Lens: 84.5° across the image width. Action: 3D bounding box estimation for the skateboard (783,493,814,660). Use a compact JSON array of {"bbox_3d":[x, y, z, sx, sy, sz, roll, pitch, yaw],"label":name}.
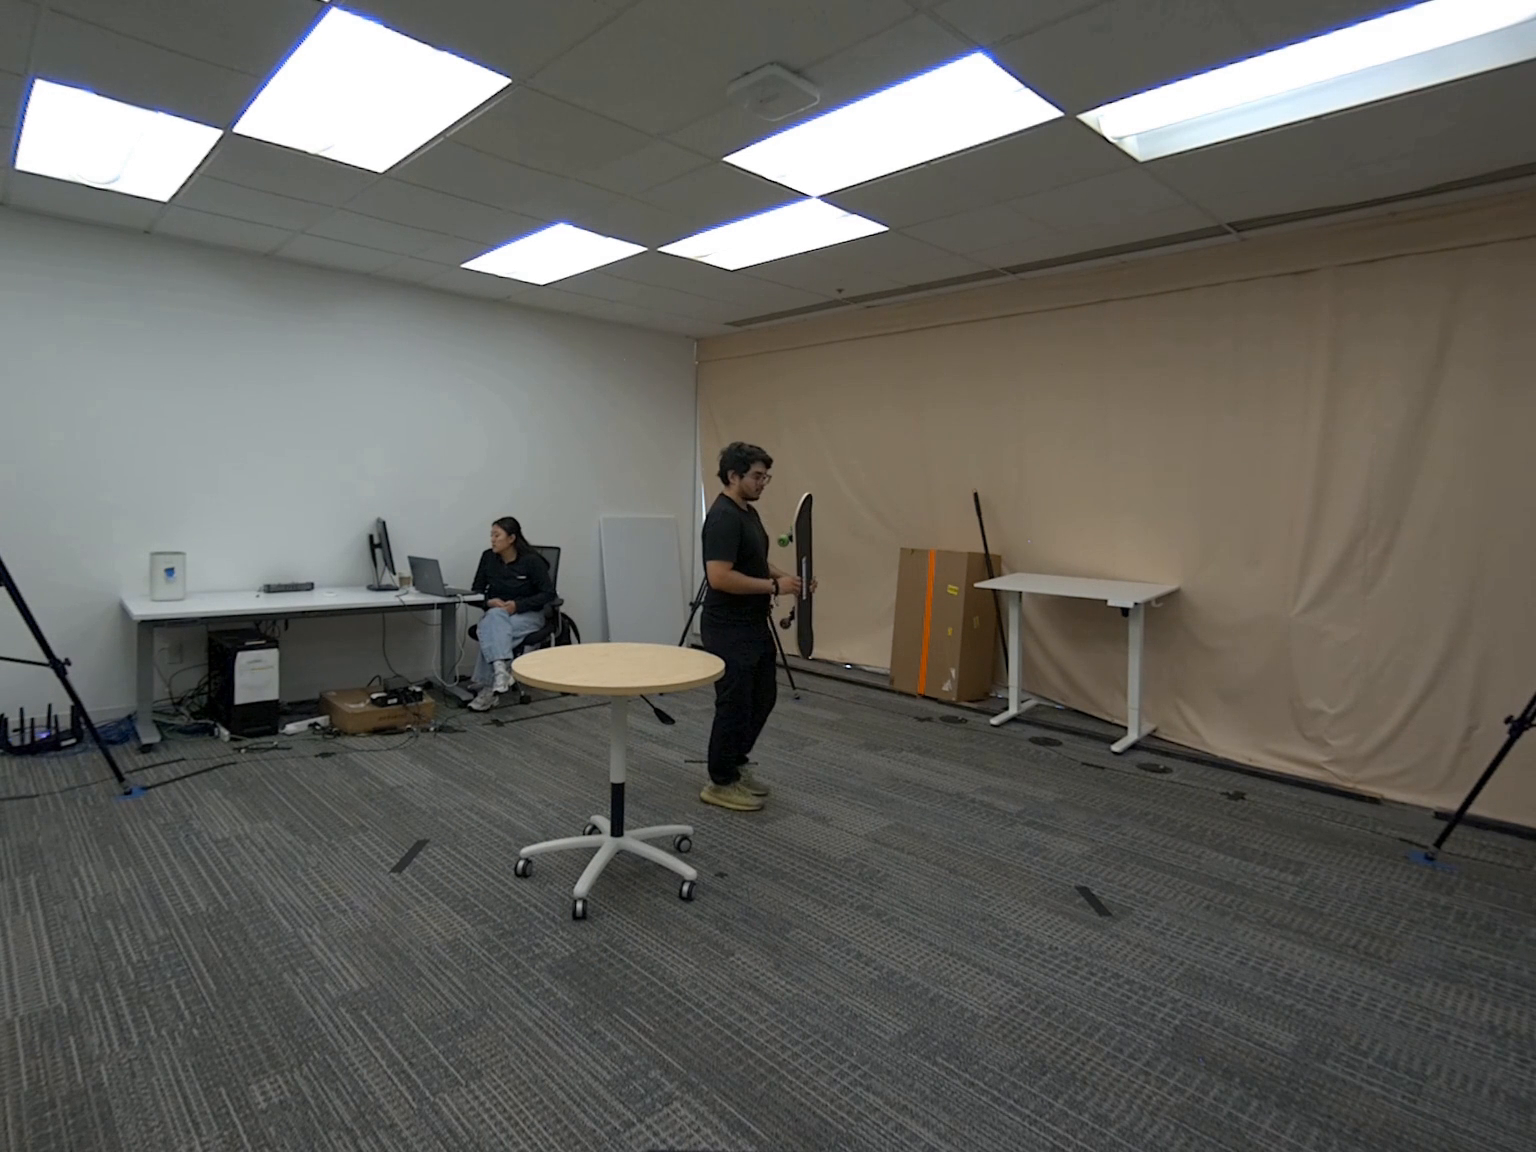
[{"bbox_3d":[0.119,0.006,3.734,0.112,0.773,0.193,8,23,22],"label":"skateboard"}]
